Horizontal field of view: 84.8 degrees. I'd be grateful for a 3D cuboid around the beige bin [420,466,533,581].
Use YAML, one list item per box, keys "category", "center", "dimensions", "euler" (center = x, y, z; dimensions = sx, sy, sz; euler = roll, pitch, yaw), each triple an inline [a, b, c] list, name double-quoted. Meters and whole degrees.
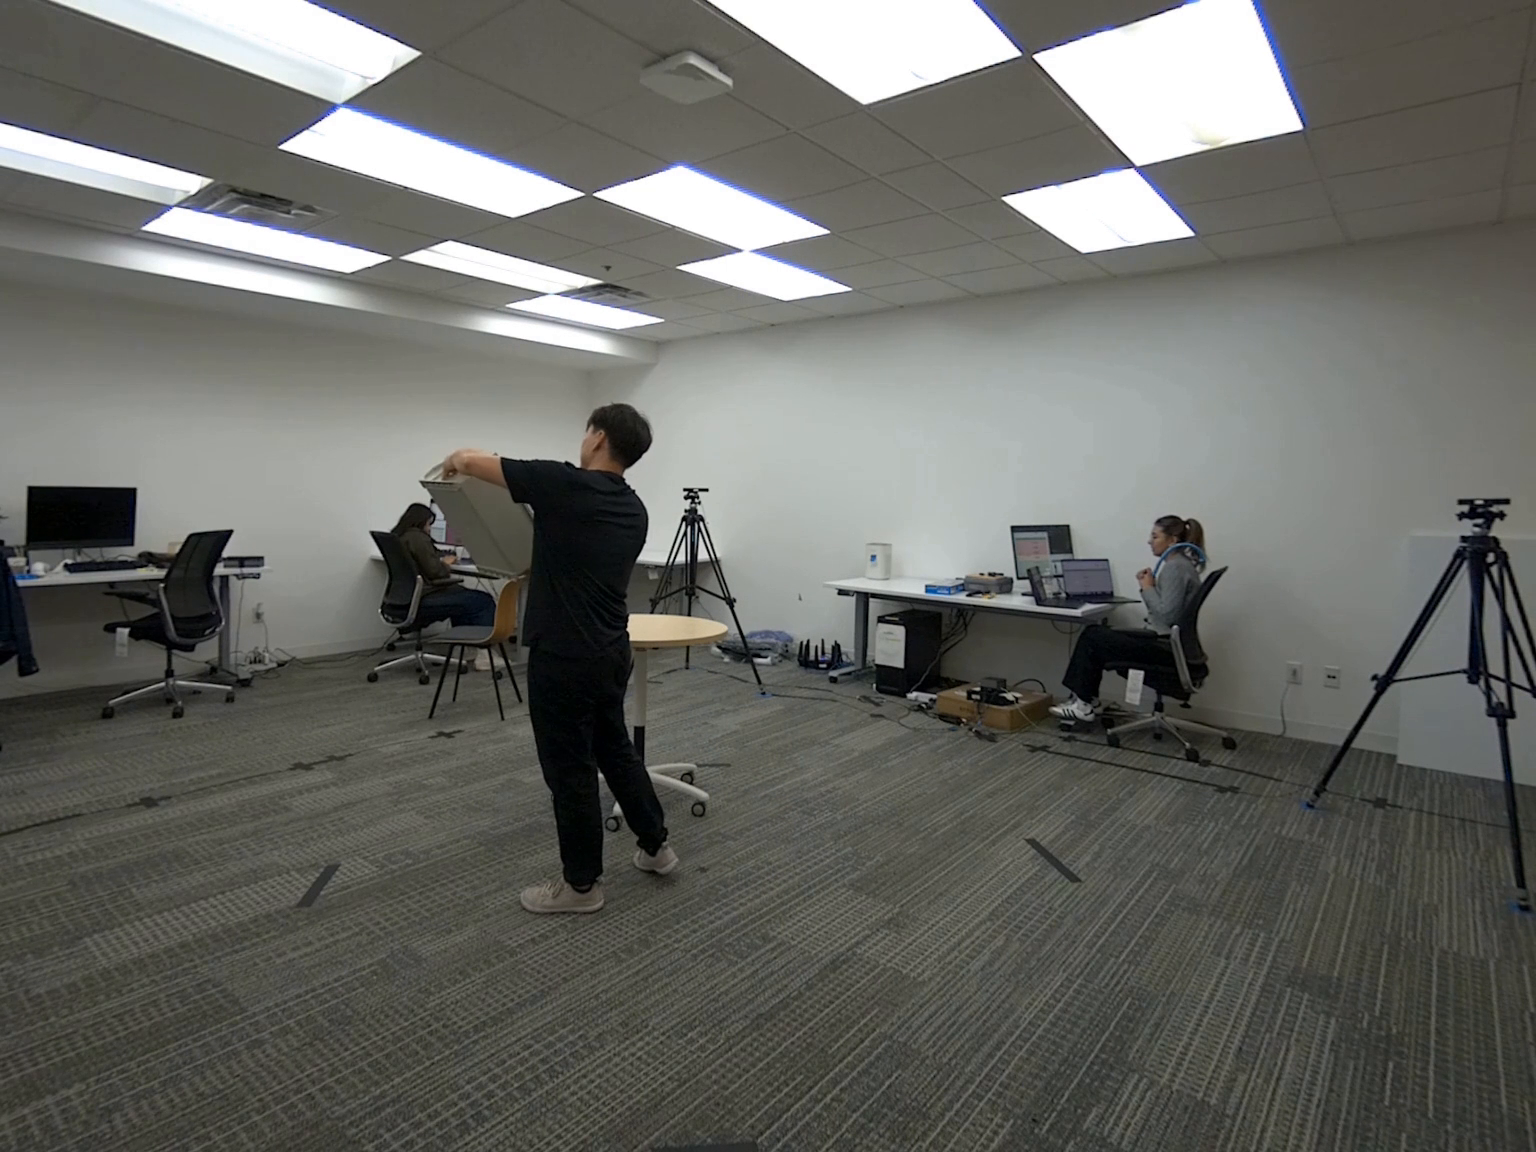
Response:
- category: "beige bin"
  center: [-1.025, -0.216, 3.046]
  dimensions: [0.390, 0.409, 0.188]
  euler: [7, 41, 48]
